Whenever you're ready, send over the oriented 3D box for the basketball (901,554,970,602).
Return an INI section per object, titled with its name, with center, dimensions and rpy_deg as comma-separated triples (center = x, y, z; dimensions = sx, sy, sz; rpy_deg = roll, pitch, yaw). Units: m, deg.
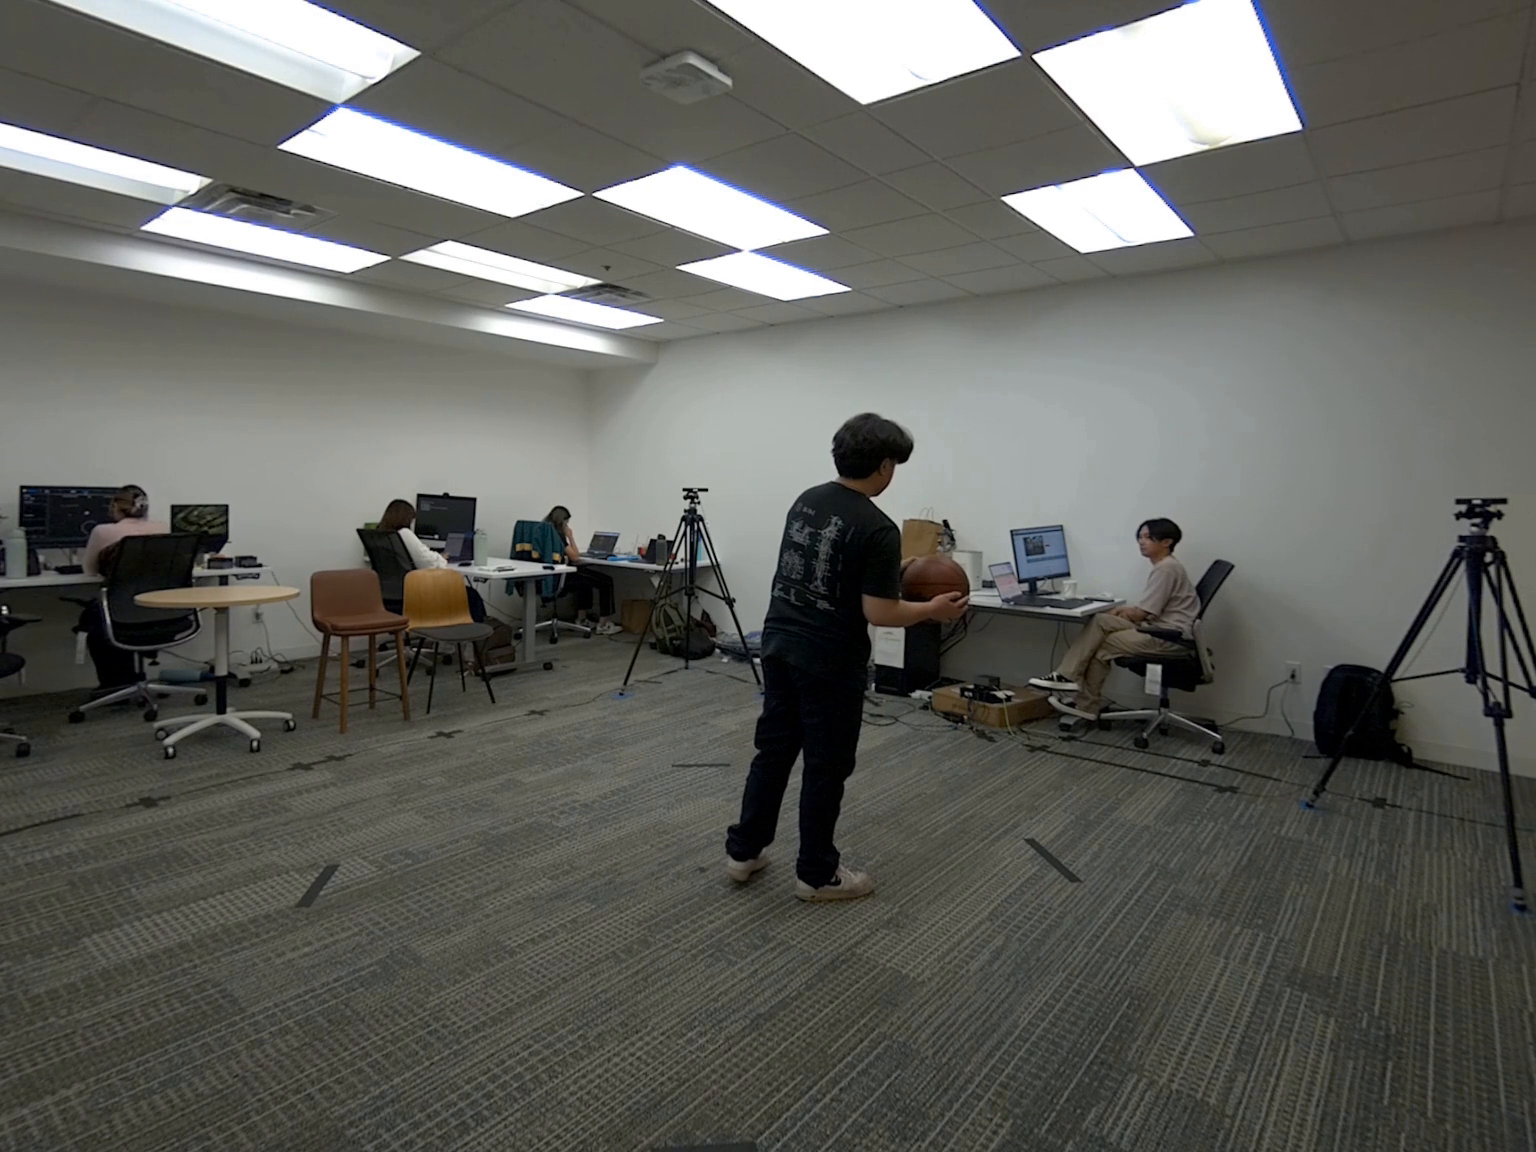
[basketball]
center = 0.578, 0.038, 3.005
dimensions = 0.235, 0.235, 0.237
rpy_deg = 1, 4, -2
